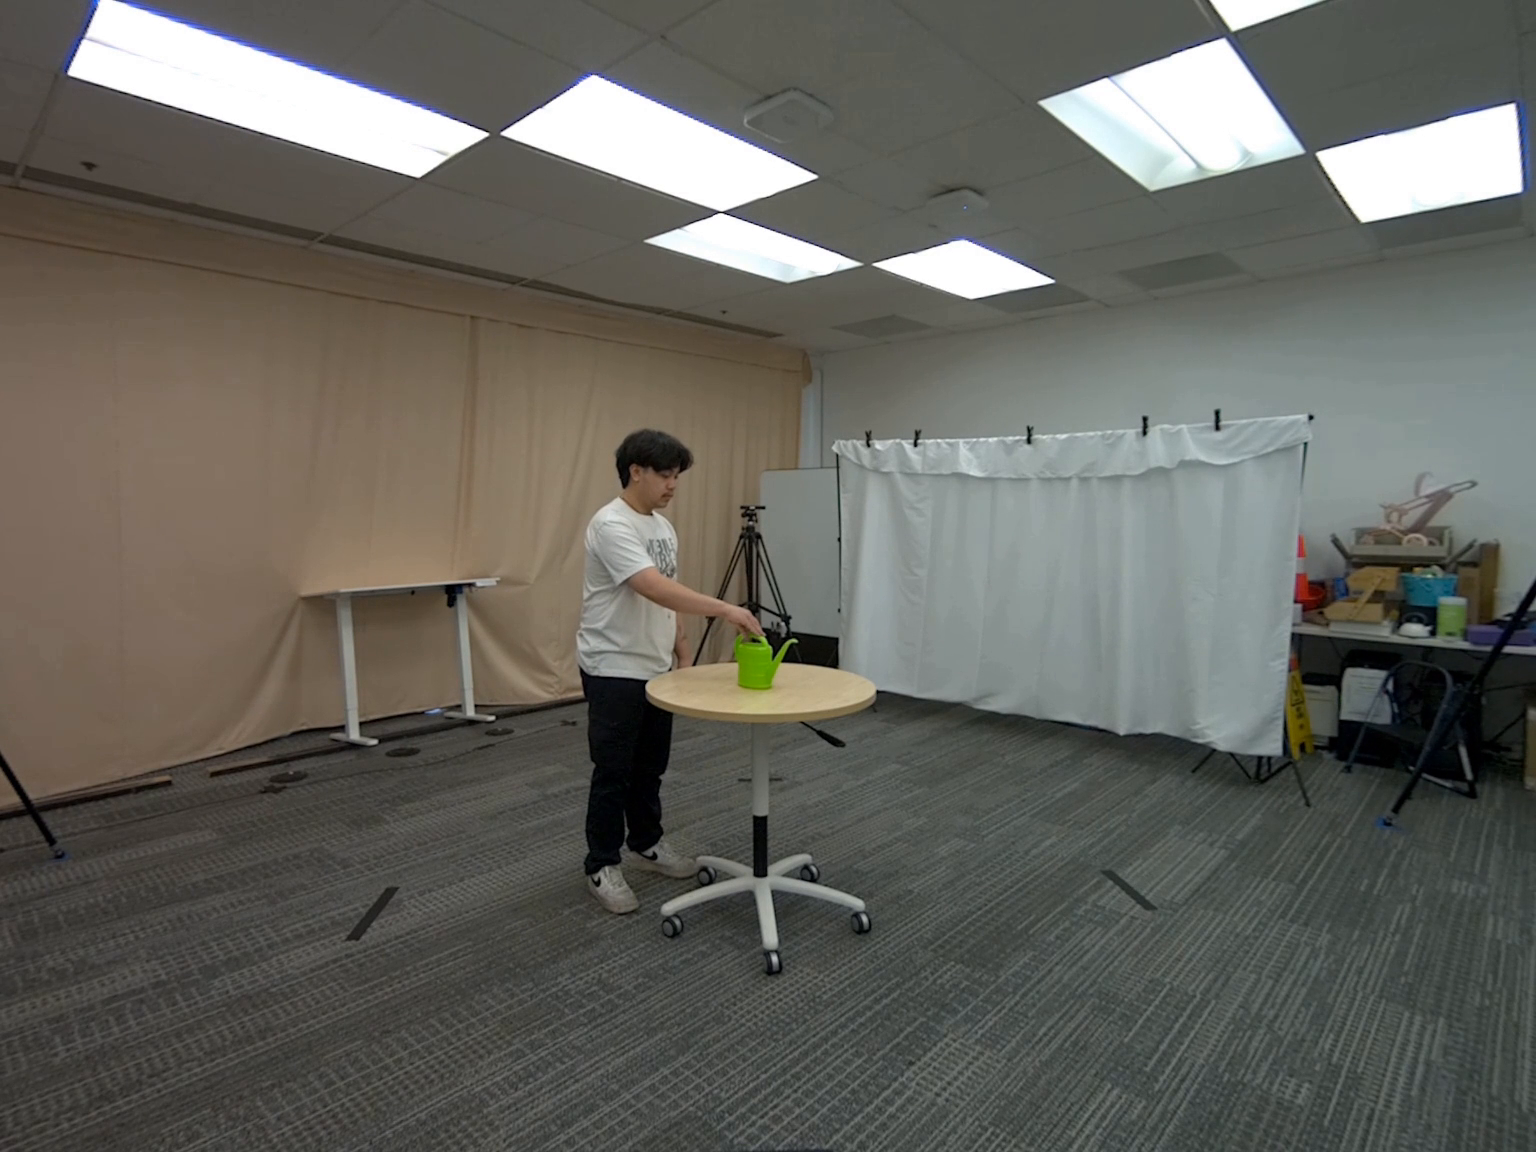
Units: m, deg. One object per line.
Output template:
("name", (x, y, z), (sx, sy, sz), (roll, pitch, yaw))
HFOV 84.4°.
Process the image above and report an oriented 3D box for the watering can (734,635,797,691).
("watering can", (-0.014, 0.283, 2.755), (0.095, 0.176, 0.286), (-2, 3, -31))
